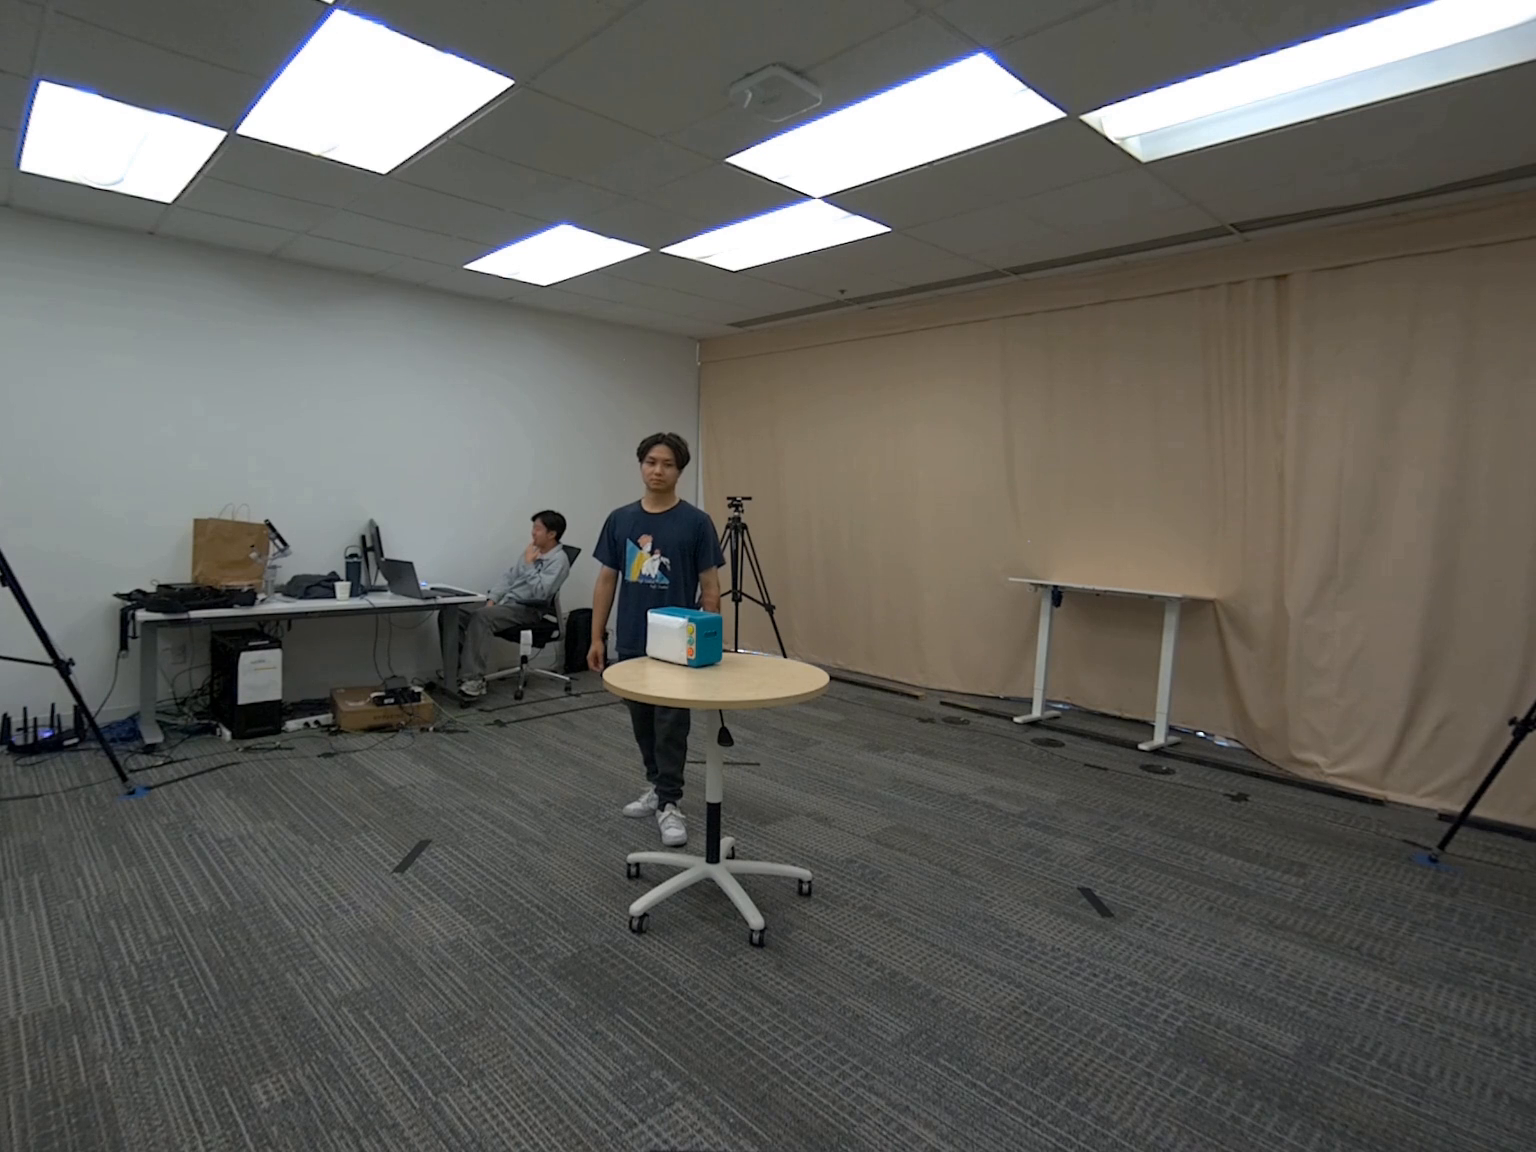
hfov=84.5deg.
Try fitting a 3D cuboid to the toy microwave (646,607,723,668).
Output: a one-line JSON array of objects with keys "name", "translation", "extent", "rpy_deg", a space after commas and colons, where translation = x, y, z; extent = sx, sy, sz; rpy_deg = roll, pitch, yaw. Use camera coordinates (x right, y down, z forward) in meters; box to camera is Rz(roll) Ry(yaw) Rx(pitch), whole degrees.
[{"name": "toy microwave", "translation": [-0.323, 0.222, 3.047], "extent": [0.293, 0.183, 0.149], "rpy_deg": [5, 6, 42]}]
